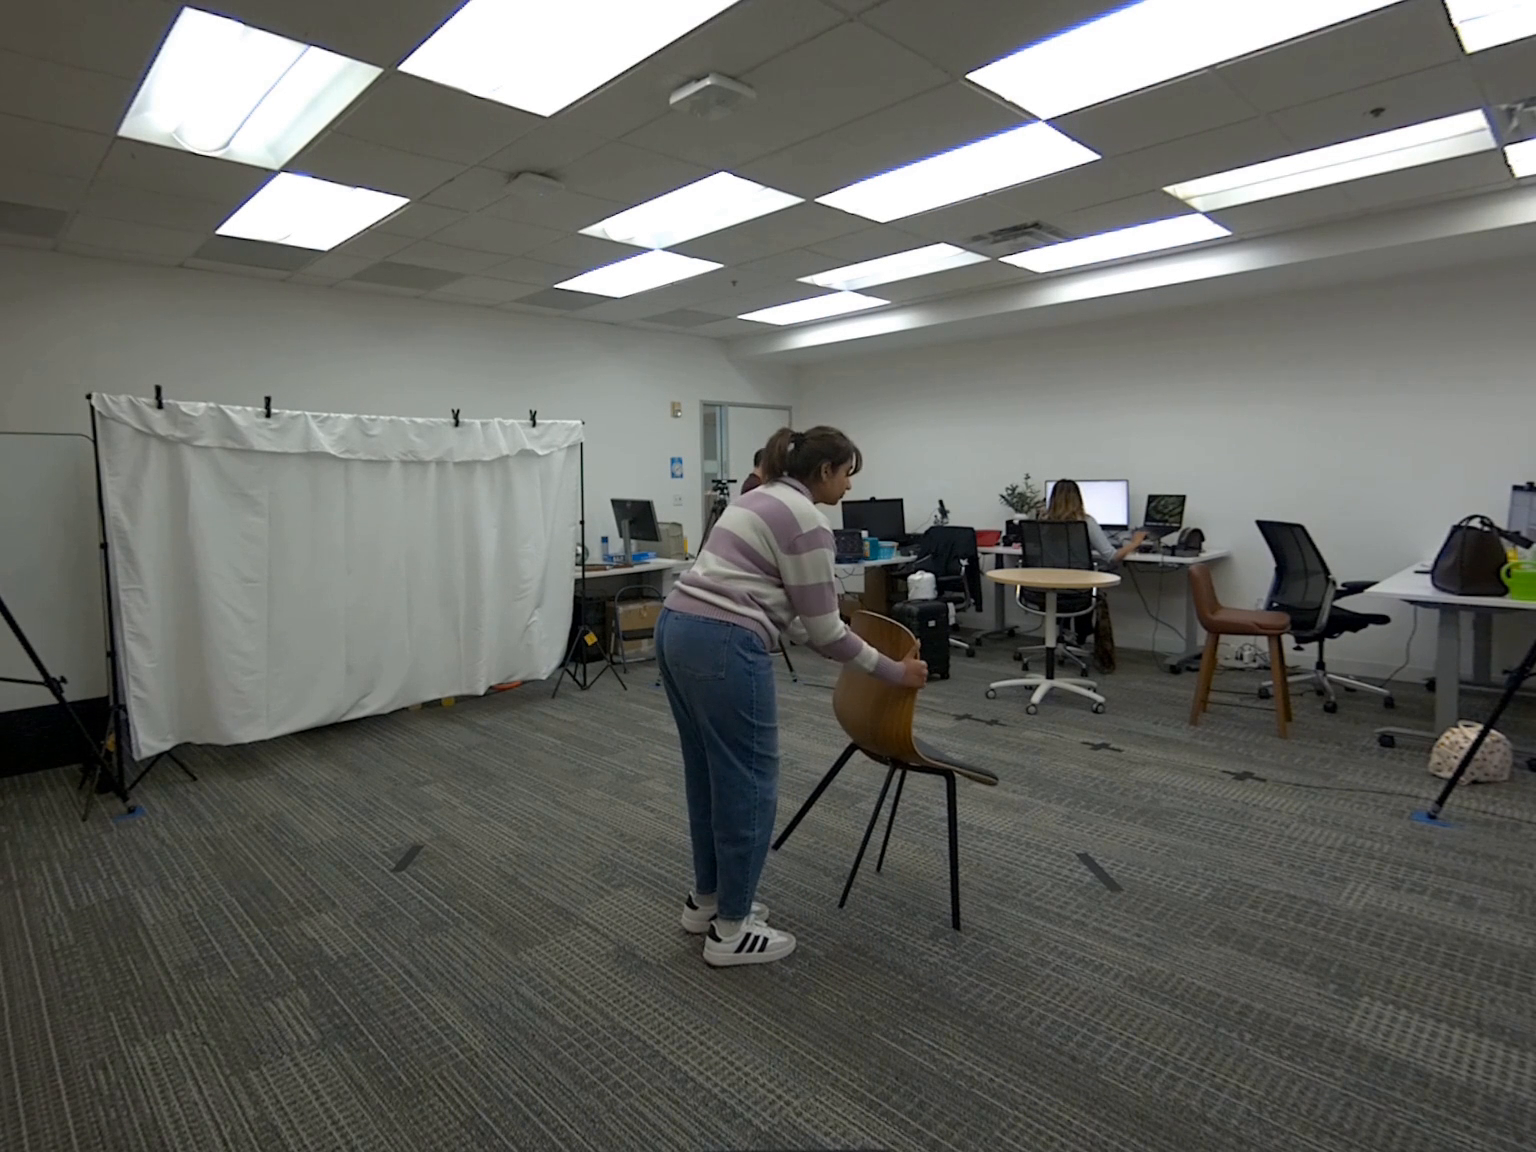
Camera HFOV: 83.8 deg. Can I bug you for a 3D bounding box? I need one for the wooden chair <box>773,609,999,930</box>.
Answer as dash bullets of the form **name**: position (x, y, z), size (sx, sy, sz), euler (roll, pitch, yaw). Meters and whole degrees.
- **wooden chair**: position (0.434, 0.596, 2.778), size (0.510, 0.879, 0.489), euler (15, -3, -24)
